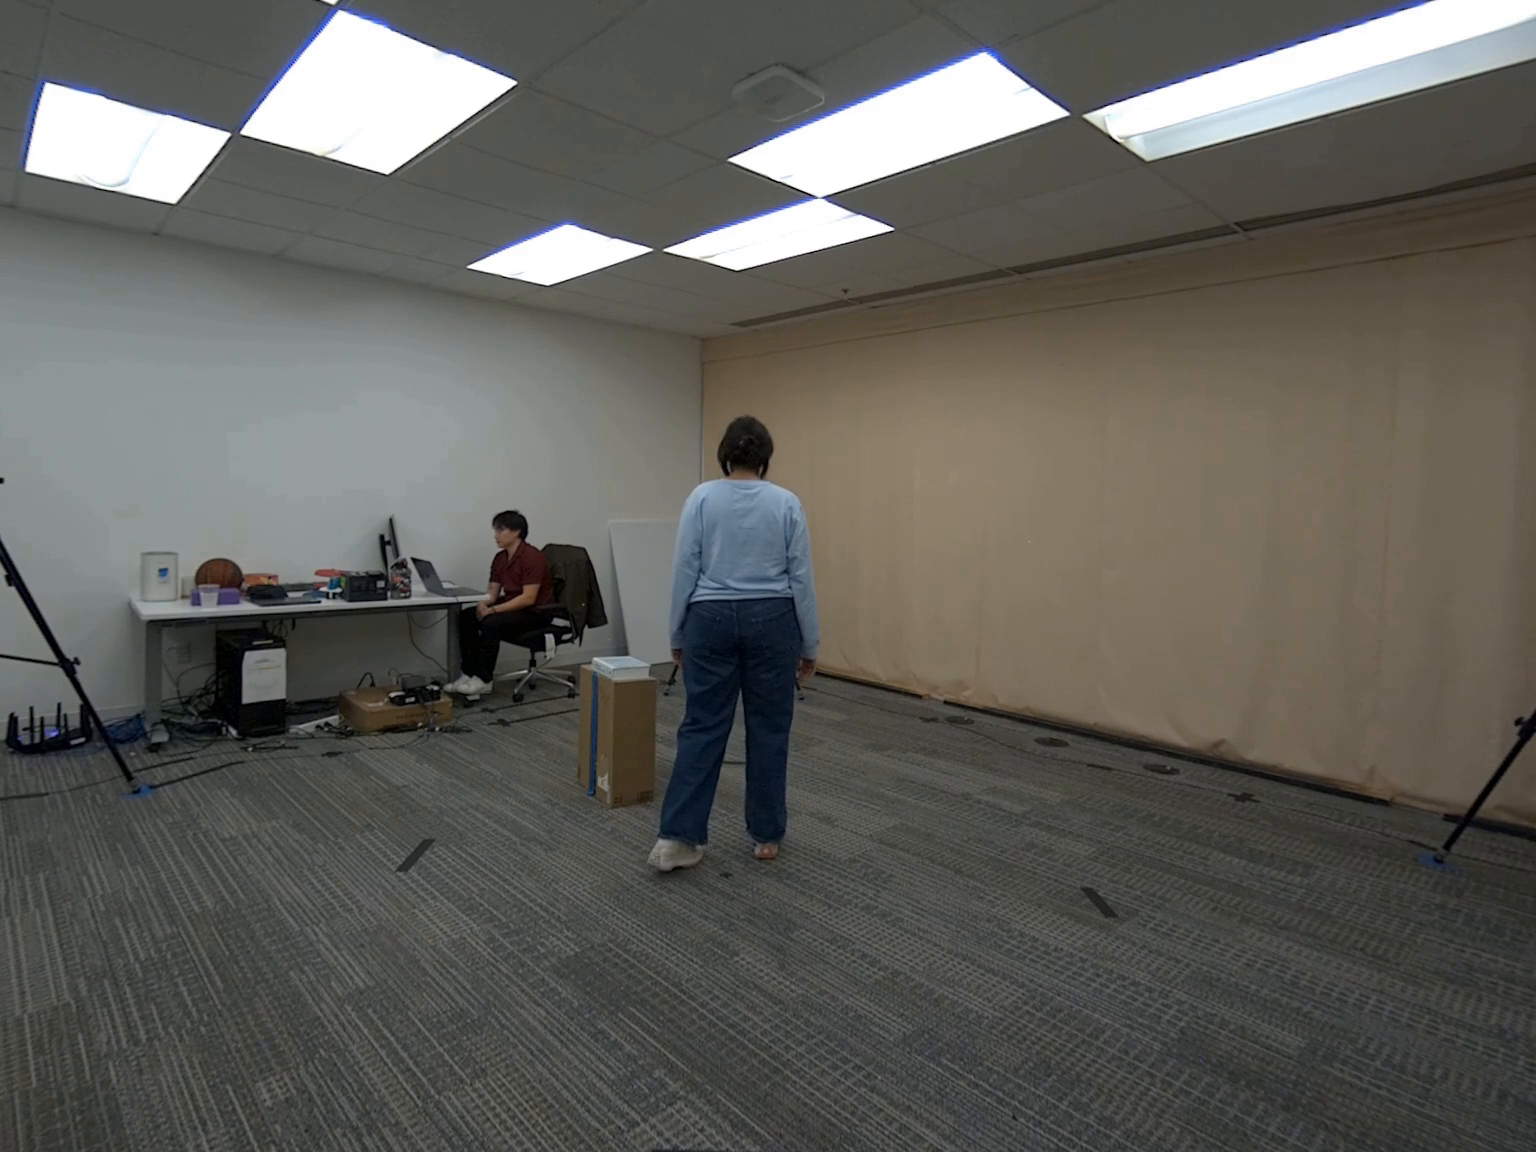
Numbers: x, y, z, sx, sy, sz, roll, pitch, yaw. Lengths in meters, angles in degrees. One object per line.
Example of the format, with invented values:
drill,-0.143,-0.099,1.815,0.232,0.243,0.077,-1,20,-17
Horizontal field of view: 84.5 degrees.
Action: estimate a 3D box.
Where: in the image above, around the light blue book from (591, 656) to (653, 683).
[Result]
light blue book,-0.681,0.427,3.912,0.187,0.059,0.267,0,5,-31
